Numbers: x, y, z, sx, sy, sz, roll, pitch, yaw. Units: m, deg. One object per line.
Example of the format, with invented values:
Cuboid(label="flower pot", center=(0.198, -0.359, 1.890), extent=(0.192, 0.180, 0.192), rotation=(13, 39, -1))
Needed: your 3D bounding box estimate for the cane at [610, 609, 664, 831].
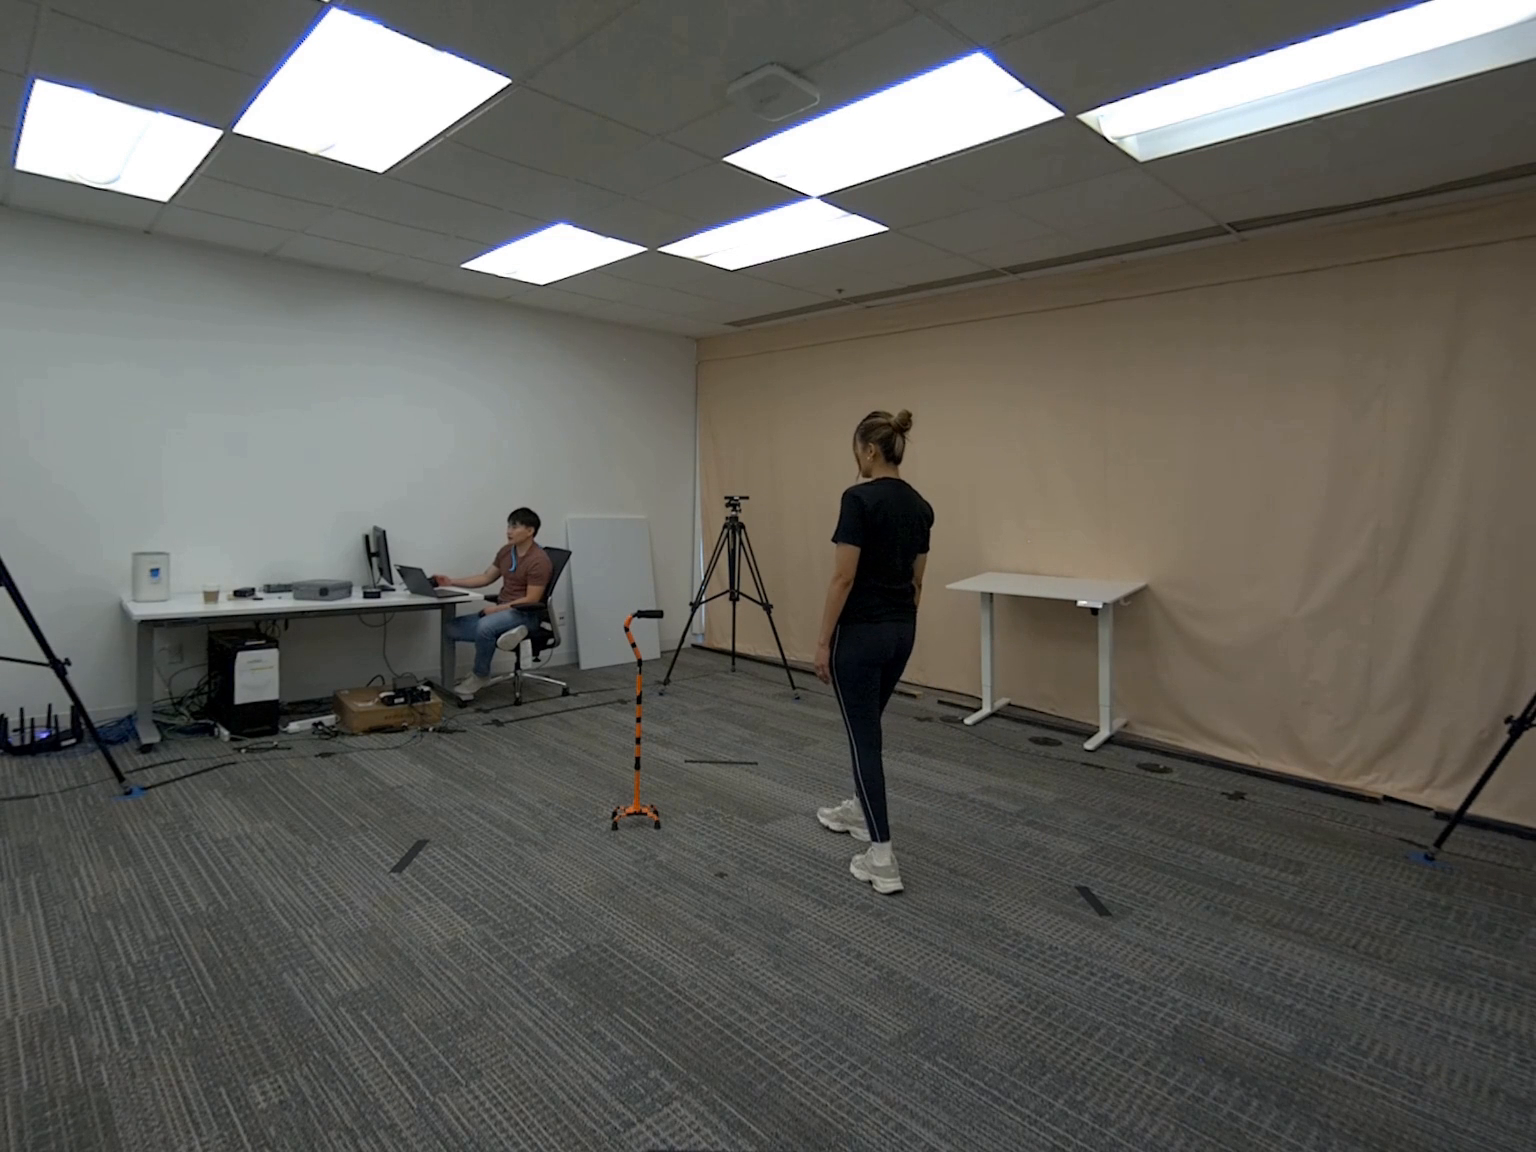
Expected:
Cuboid(label="cane", center=(-0.554, 0.593, 3.557), extent=(0.205, 0.906, 0.153), rotation=(1, 3, -11))
